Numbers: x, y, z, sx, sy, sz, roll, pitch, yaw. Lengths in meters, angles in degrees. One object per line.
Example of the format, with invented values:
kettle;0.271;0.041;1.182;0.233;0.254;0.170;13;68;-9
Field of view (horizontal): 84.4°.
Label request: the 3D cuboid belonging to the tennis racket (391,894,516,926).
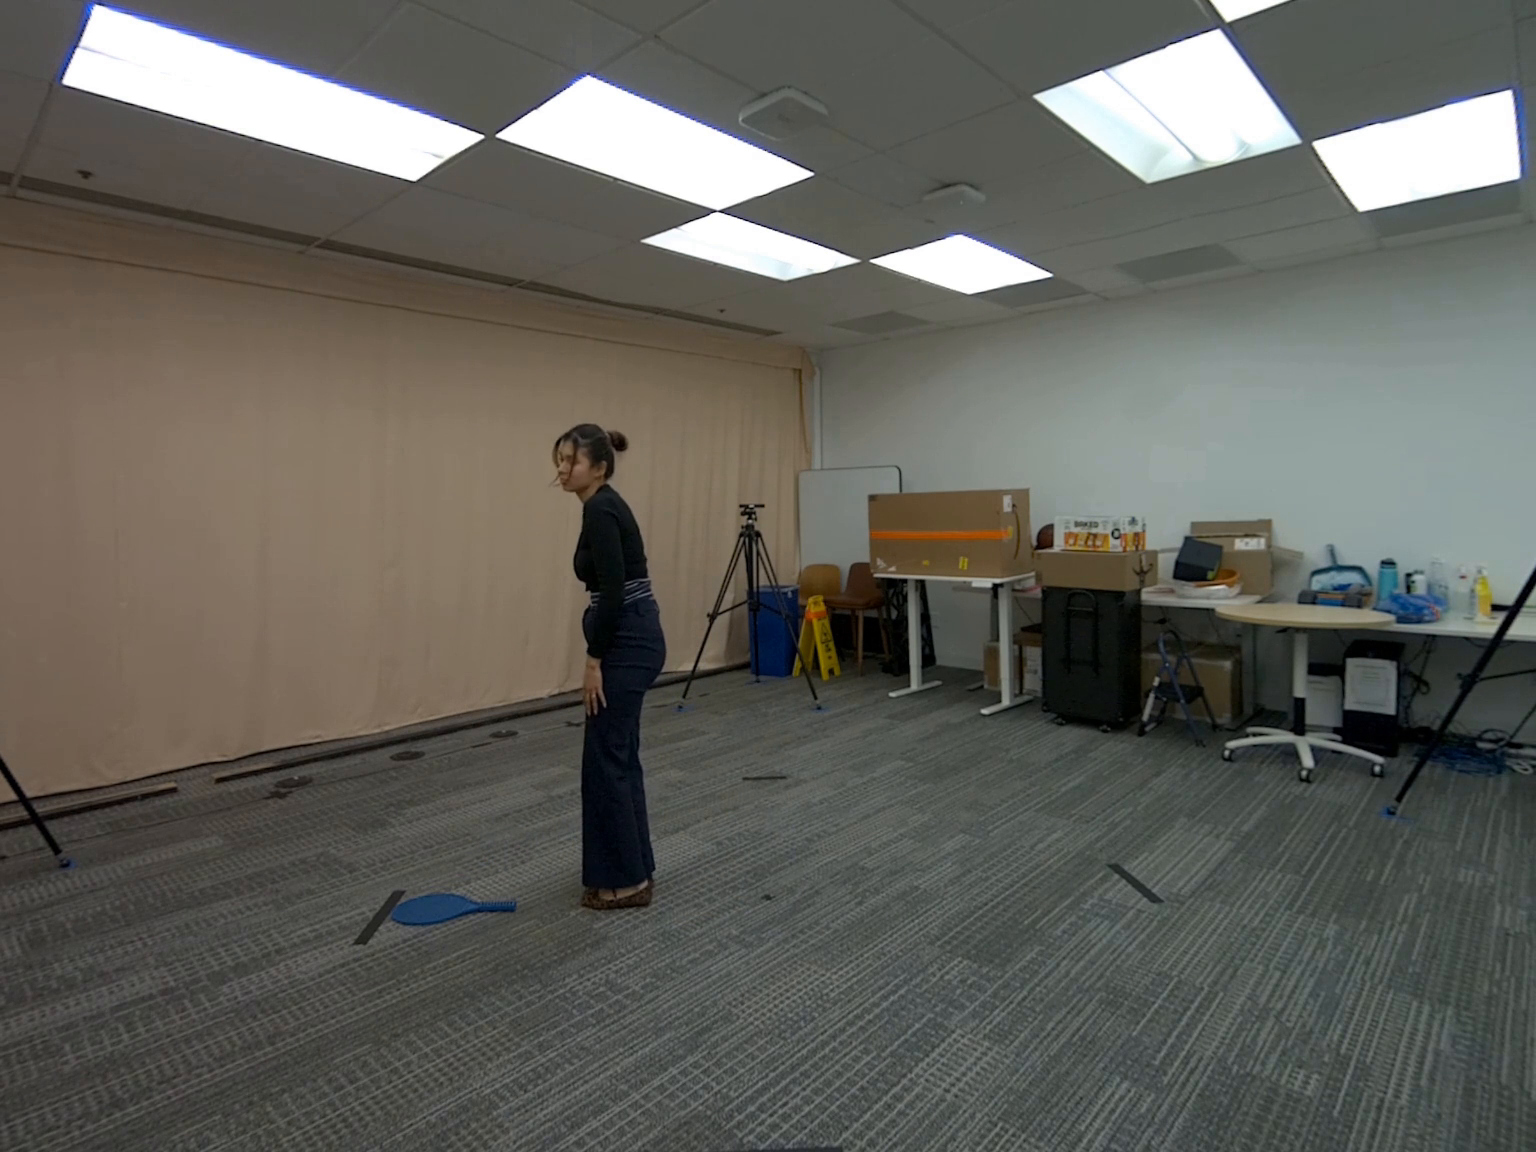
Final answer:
tennis racket;-1.098;1.167;2.935;0.433;0.032;0.214;-3;4;0
